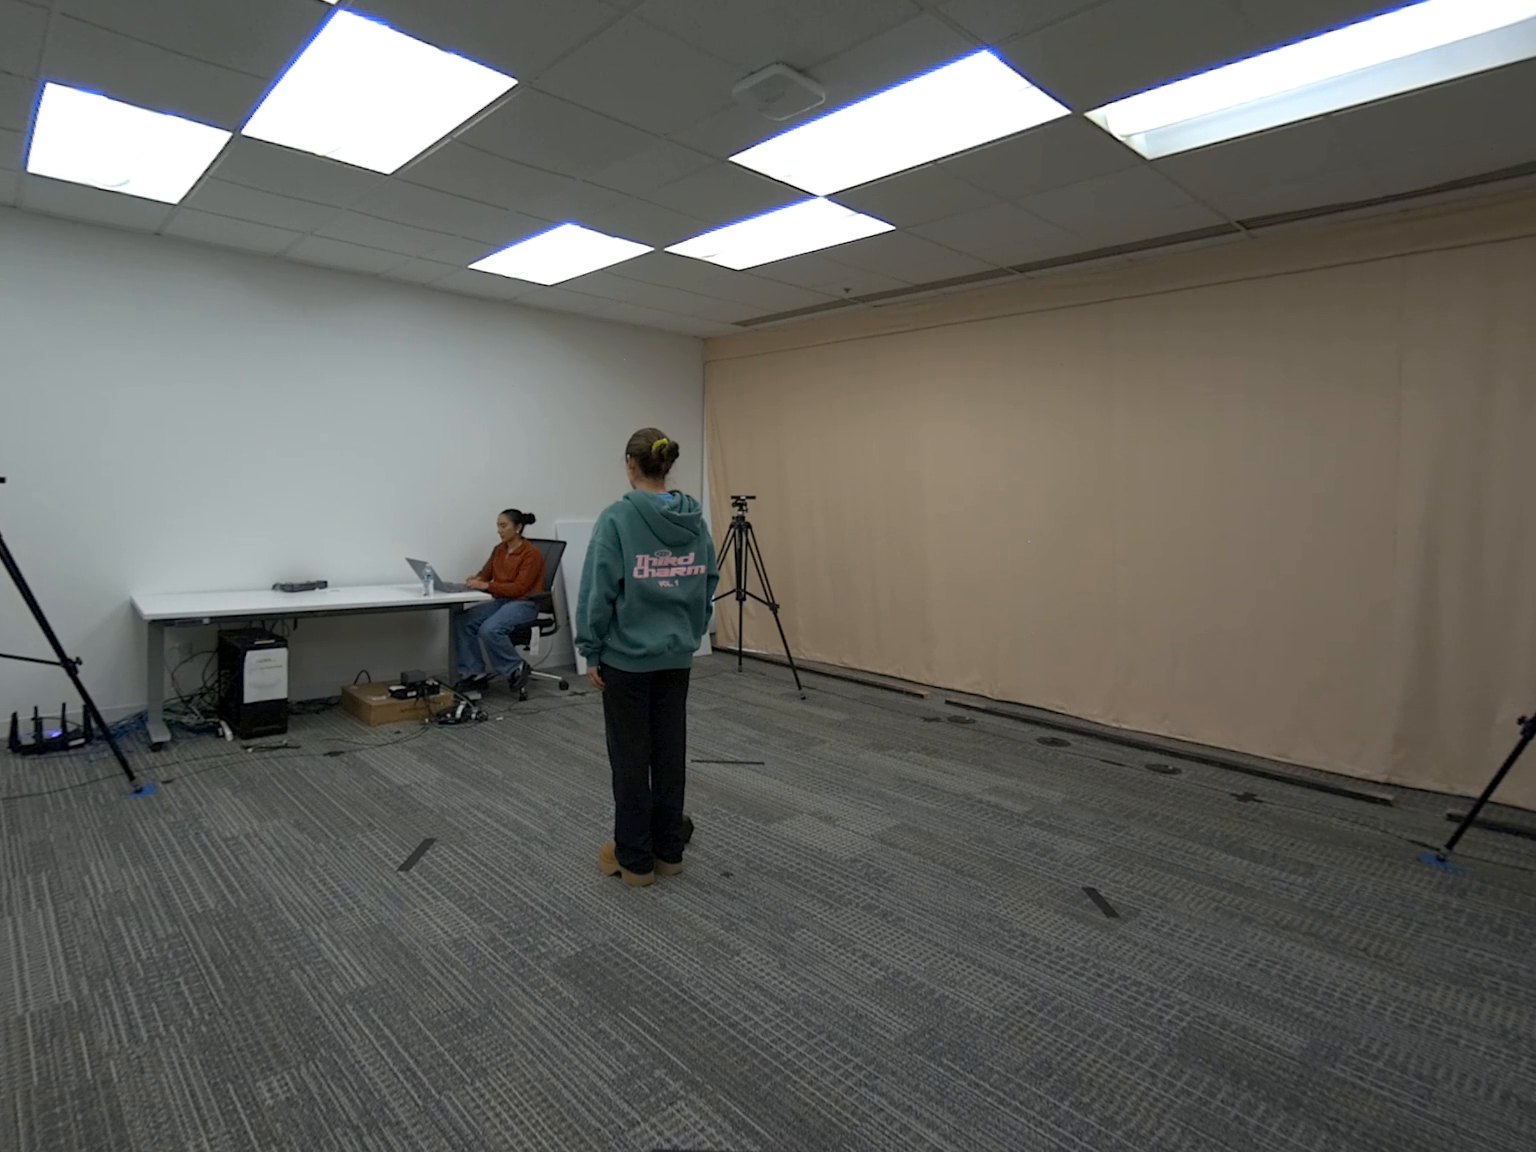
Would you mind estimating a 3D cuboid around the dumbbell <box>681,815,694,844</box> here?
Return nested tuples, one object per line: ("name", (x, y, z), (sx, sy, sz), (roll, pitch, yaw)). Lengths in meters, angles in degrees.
("dumbbell", (-0.439, 1.014, 3.464), (0.301, 0.123, 0.105), (7, -25, 46))
